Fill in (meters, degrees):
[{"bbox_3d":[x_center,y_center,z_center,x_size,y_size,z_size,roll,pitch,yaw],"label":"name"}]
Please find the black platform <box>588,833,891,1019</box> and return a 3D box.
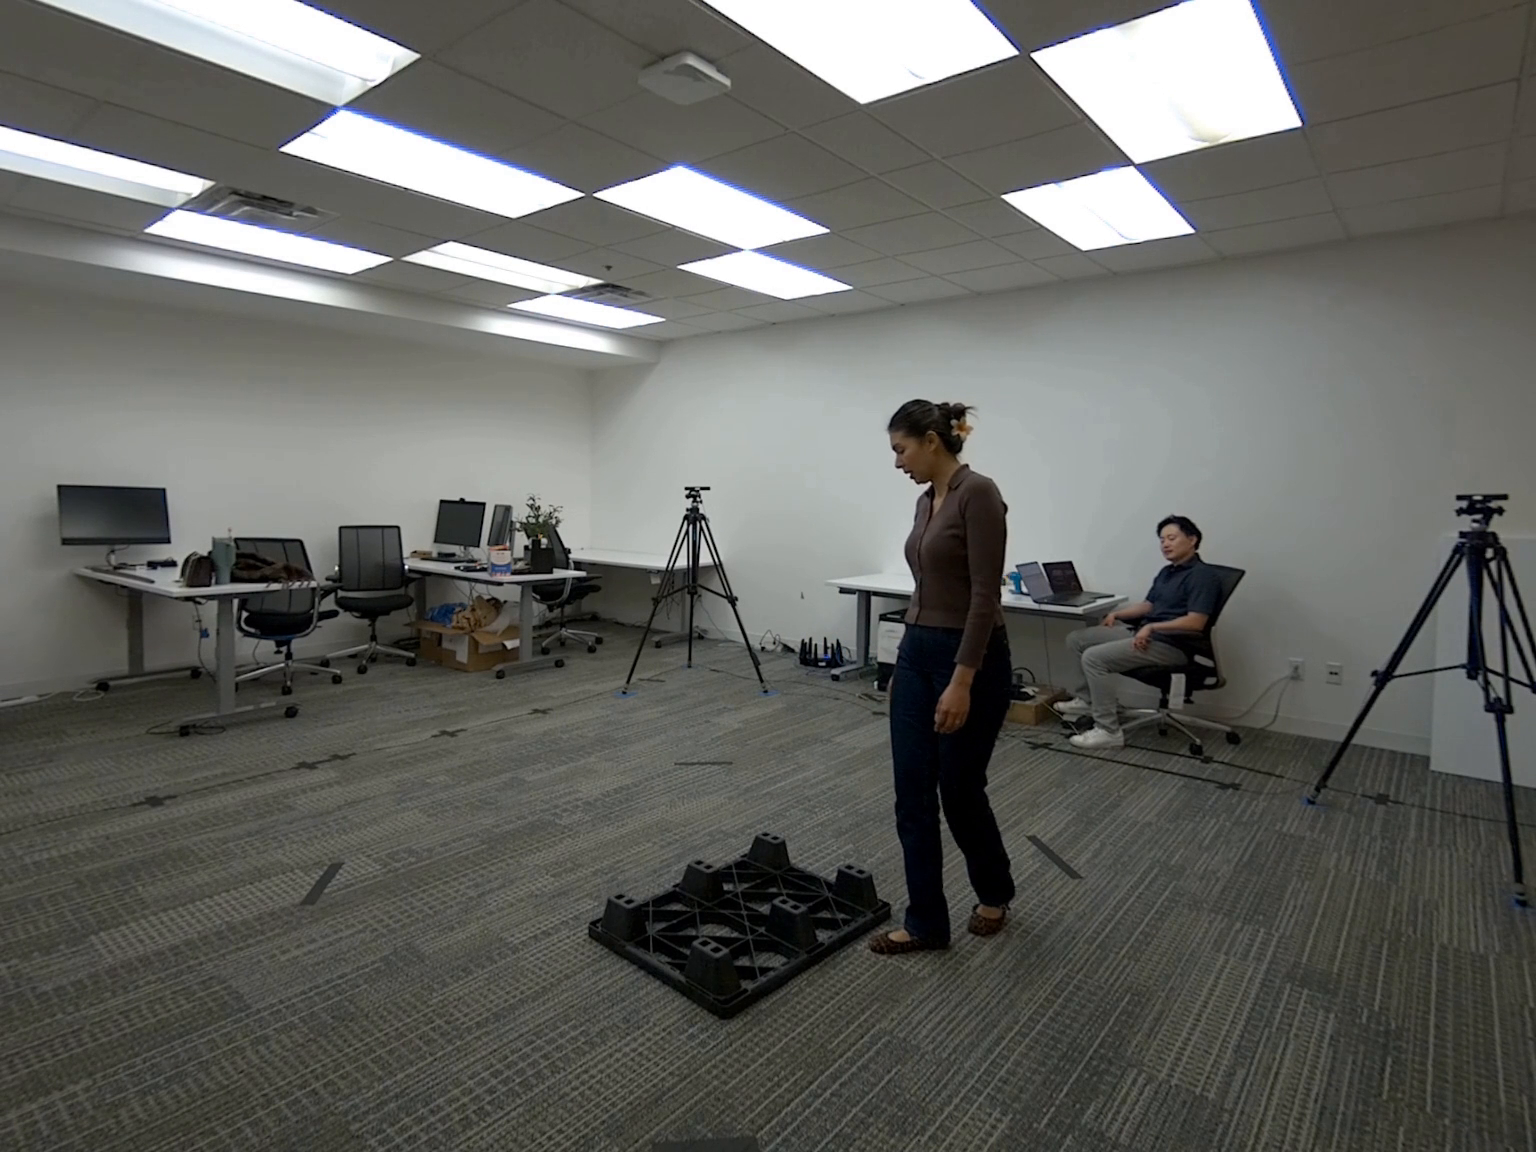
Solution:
[{"bbox_3d":[-0.083,1.042,2.707,0.626,0.143,0.782,6,8,42],"label":"black platform"}]
